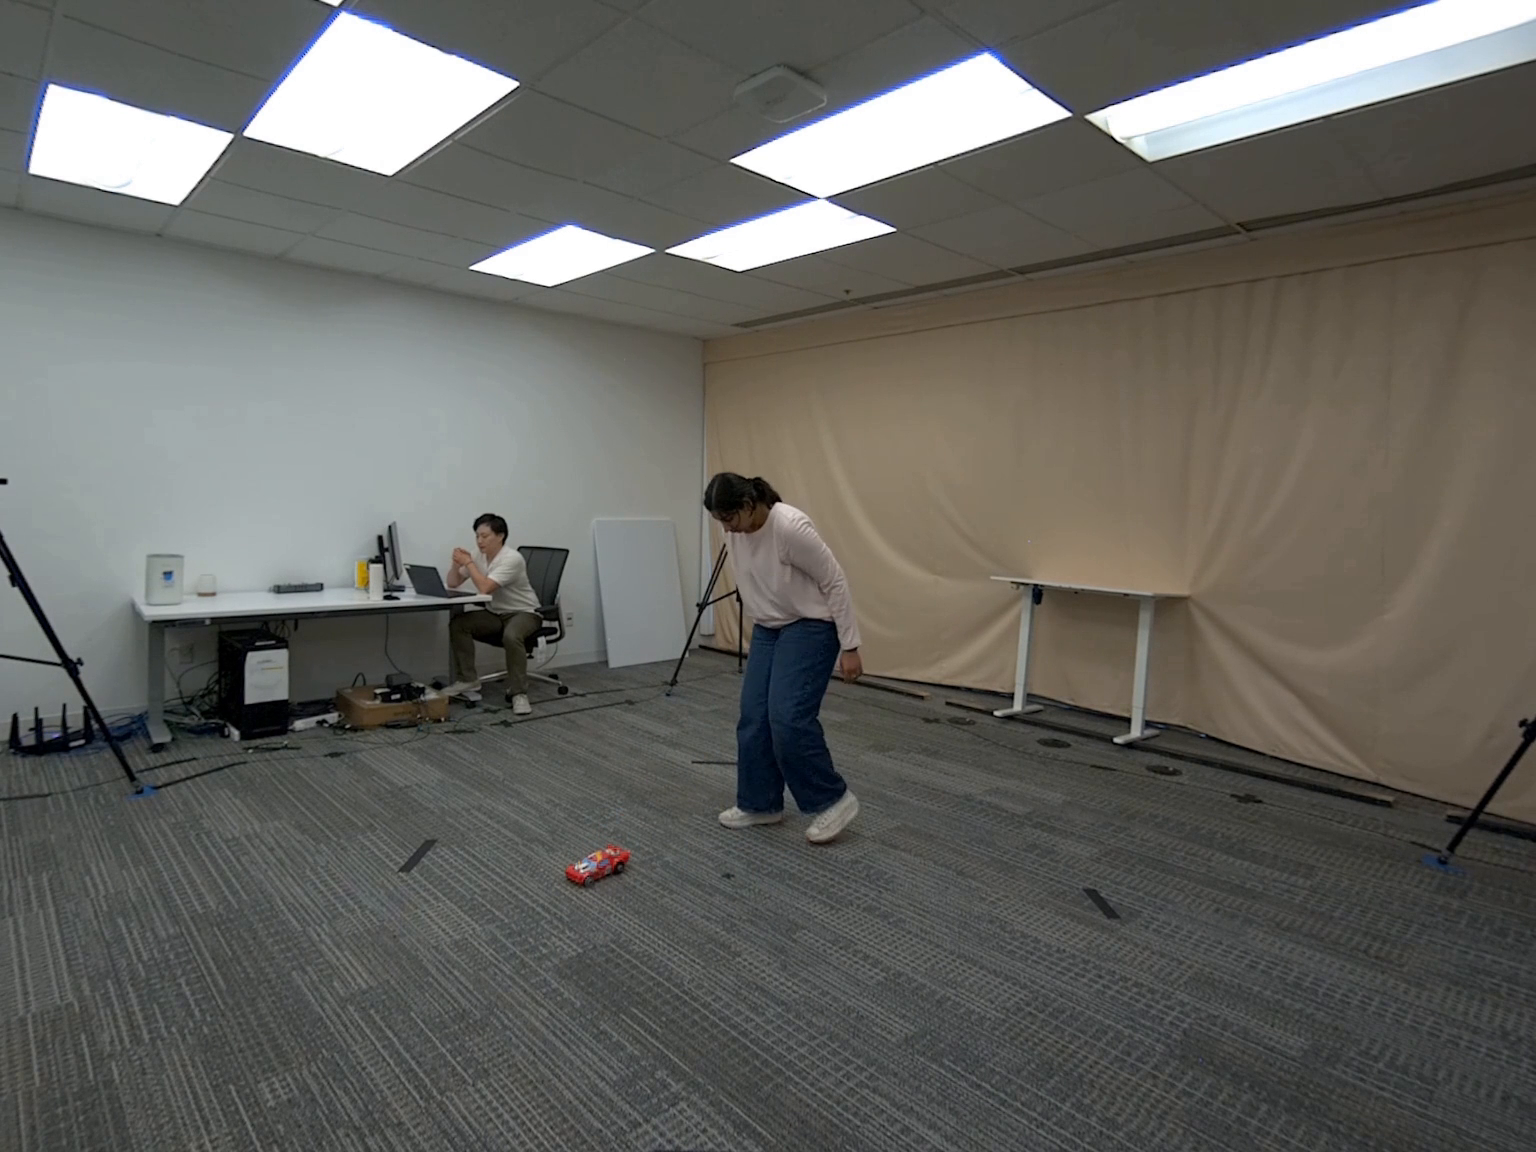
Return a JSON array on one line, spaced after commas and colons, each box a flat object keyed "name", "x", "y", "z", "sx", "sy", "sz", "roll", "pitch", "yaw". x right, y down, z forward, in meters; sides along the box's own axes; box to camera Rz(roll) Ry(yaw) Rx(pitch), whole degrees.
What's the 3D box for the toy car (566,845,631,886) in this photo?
[{"name": "toy car", "x": -0.628, "y": 1.065, "z": 3.090, "sx": 0.133, "sy": 0.082, "sz": 0.251, "roll": 5, "pitch": 17, "yaw": 39}]
